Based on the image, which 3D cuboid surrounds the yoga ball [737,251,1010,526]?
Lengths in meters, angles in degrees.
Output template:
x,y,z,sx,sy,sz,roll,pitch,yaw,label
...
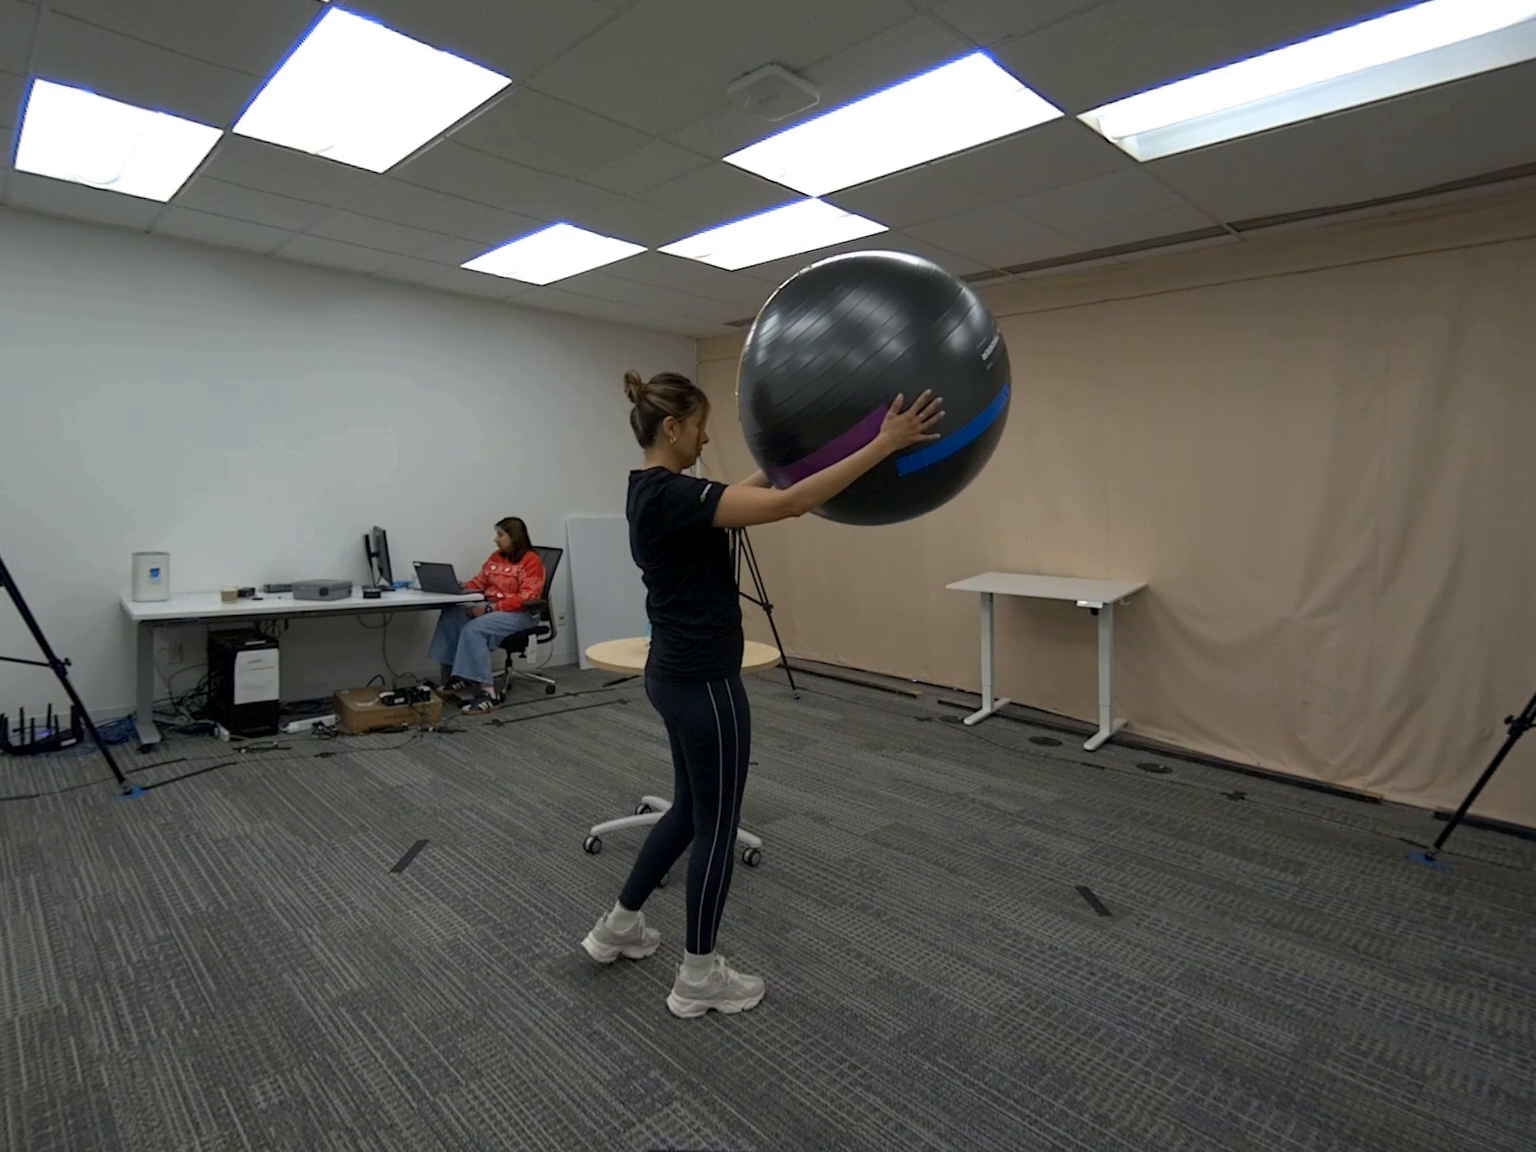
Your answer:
x,y,z,sx,sy,sz,roll,pitch,yaw,label
0.290,-0.513,2.368,0.757,0.756,0.761,1,4,-1,yoga ball
